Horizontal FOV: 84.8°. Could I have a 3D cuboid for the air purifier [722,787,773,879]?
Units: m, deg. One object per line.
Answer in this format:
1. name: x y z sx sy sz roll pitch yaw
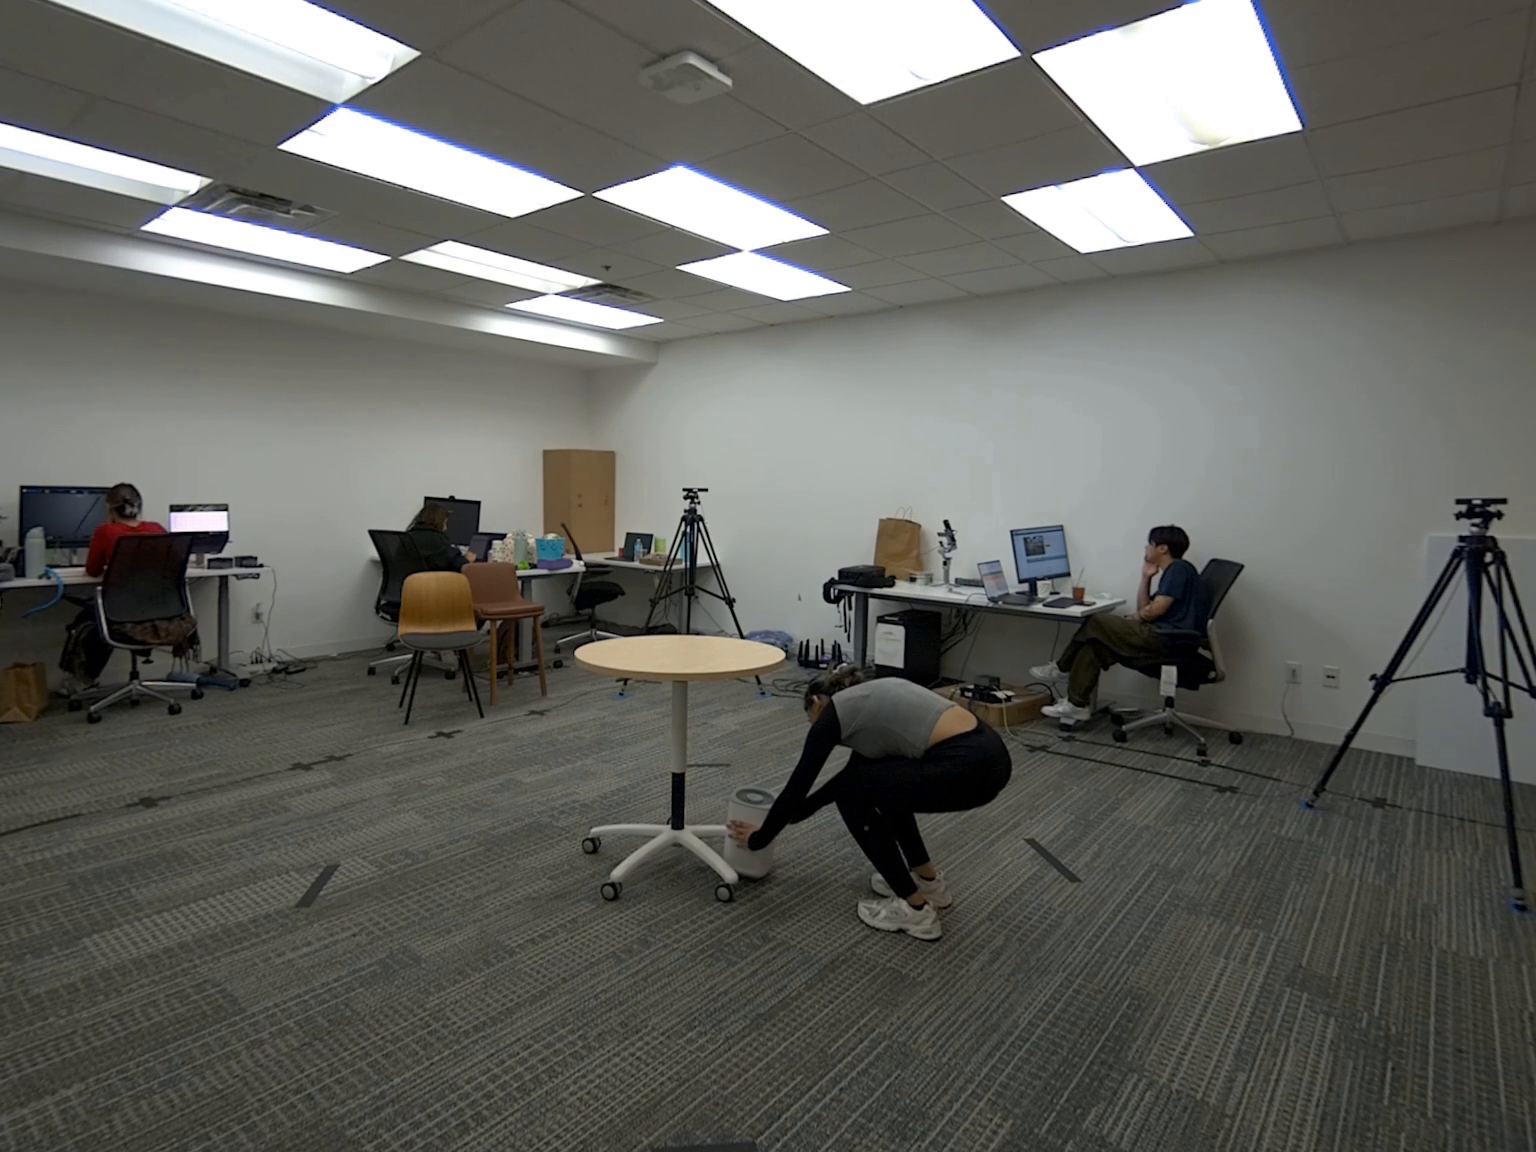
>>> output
1. air purifier: -0.073 0.916 3.057 0.174 0.264 0.169 4 7 14
